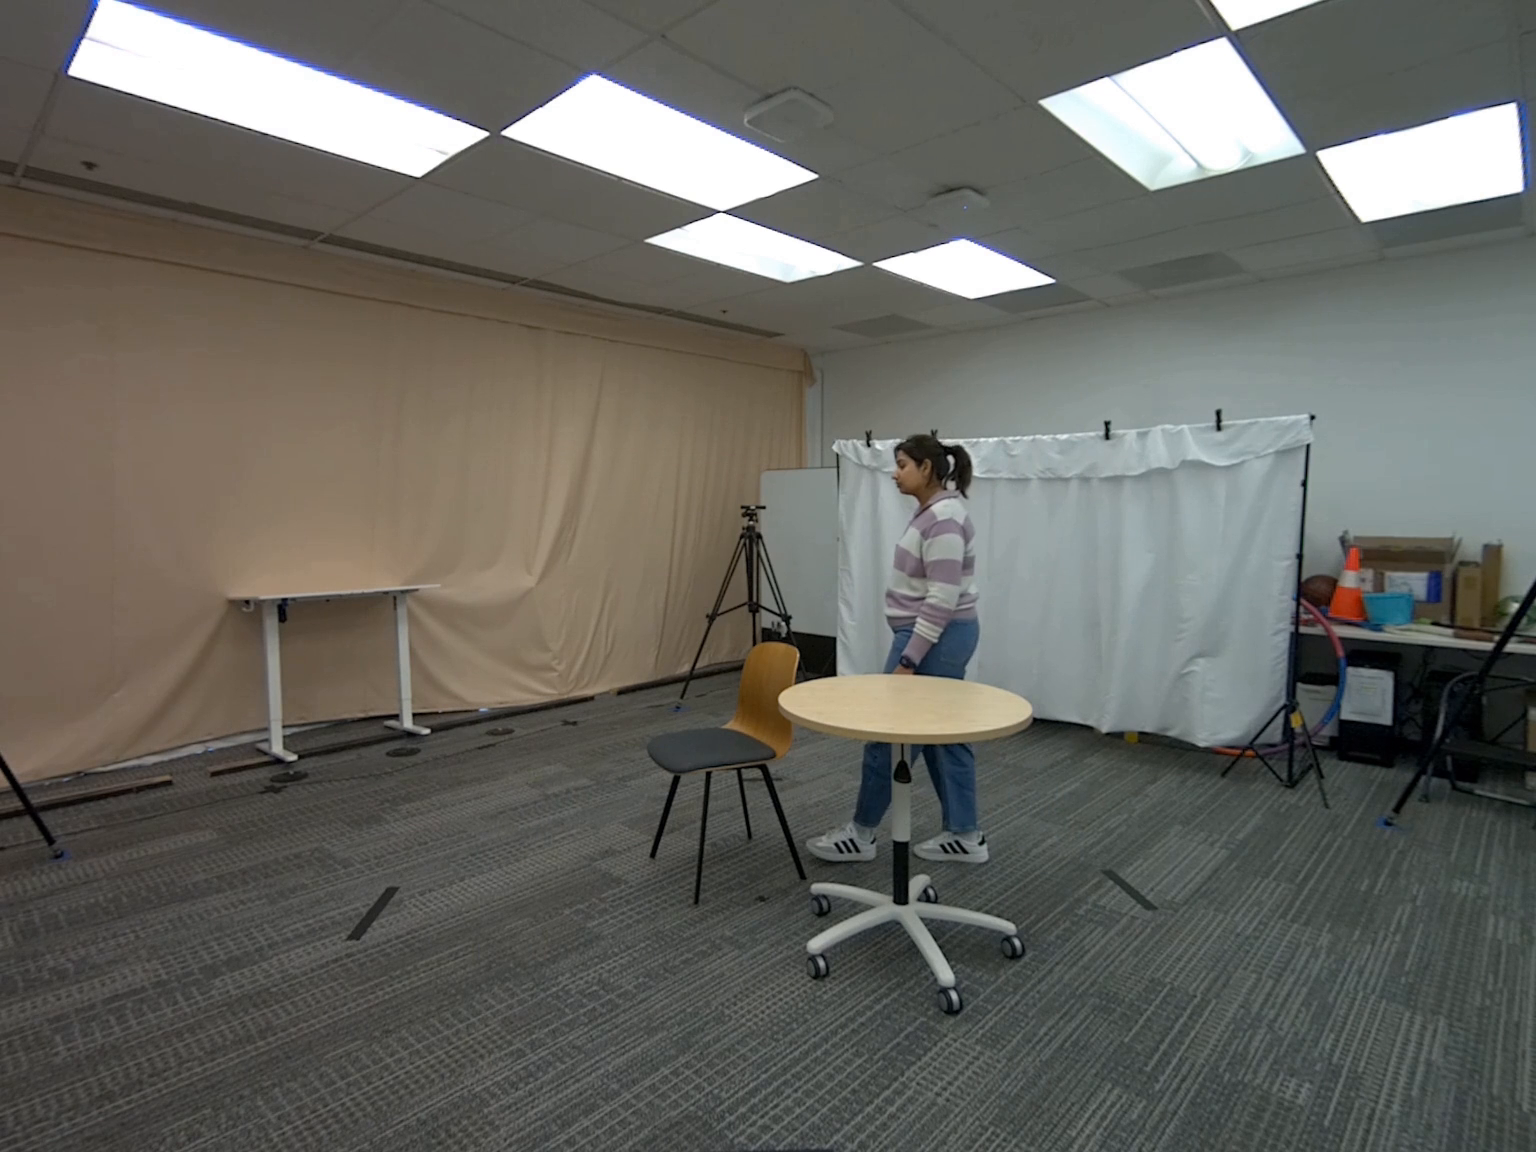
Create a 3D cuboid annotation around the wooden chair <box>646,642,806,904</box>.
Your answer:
[{"bbox_3d":[-0.171,0.701,3.204,0.509,0.877,0.491,3,2,-28],"label":"wooden chair"}]
